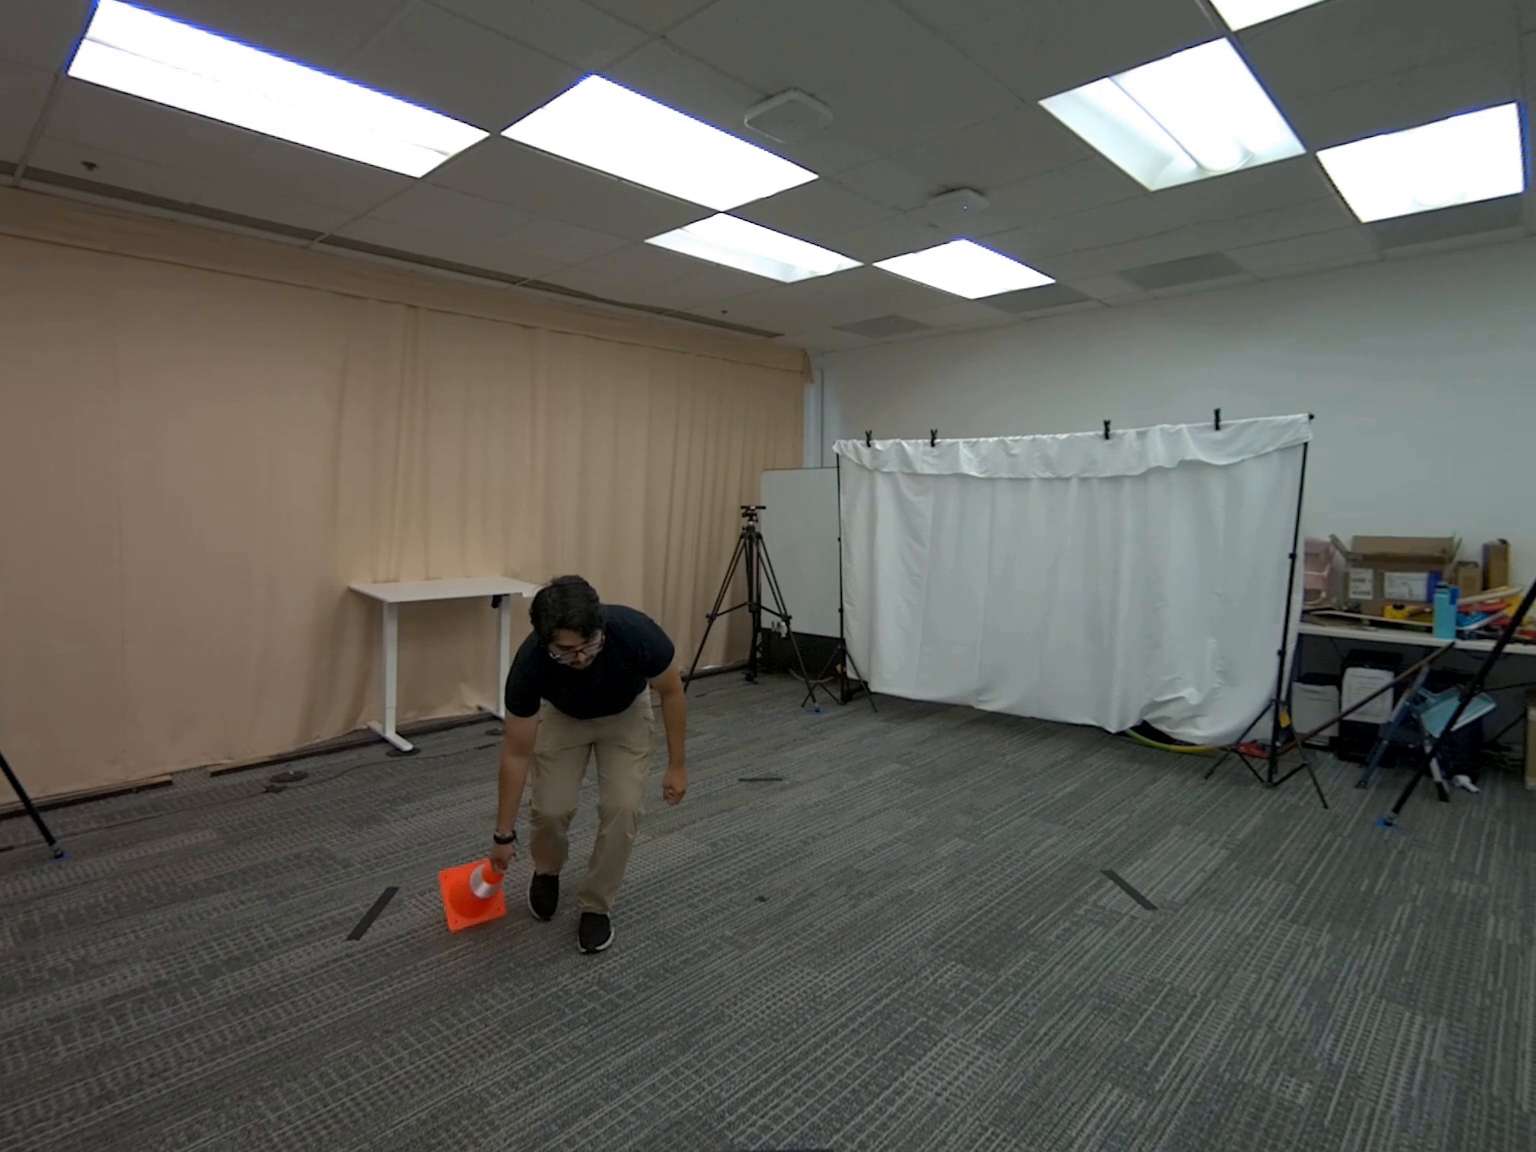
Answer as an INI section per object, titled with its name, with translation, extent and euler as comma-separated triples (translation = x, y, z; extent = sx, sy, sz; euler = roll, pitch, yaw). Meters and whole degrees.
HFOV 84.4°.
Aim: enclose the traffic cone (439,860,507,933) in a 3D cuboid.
[traffic cone]
translation = -0.914, 0.989, 2.738
extent = 0.197, 0.210, 0.386
euler = -2, -32, -37
